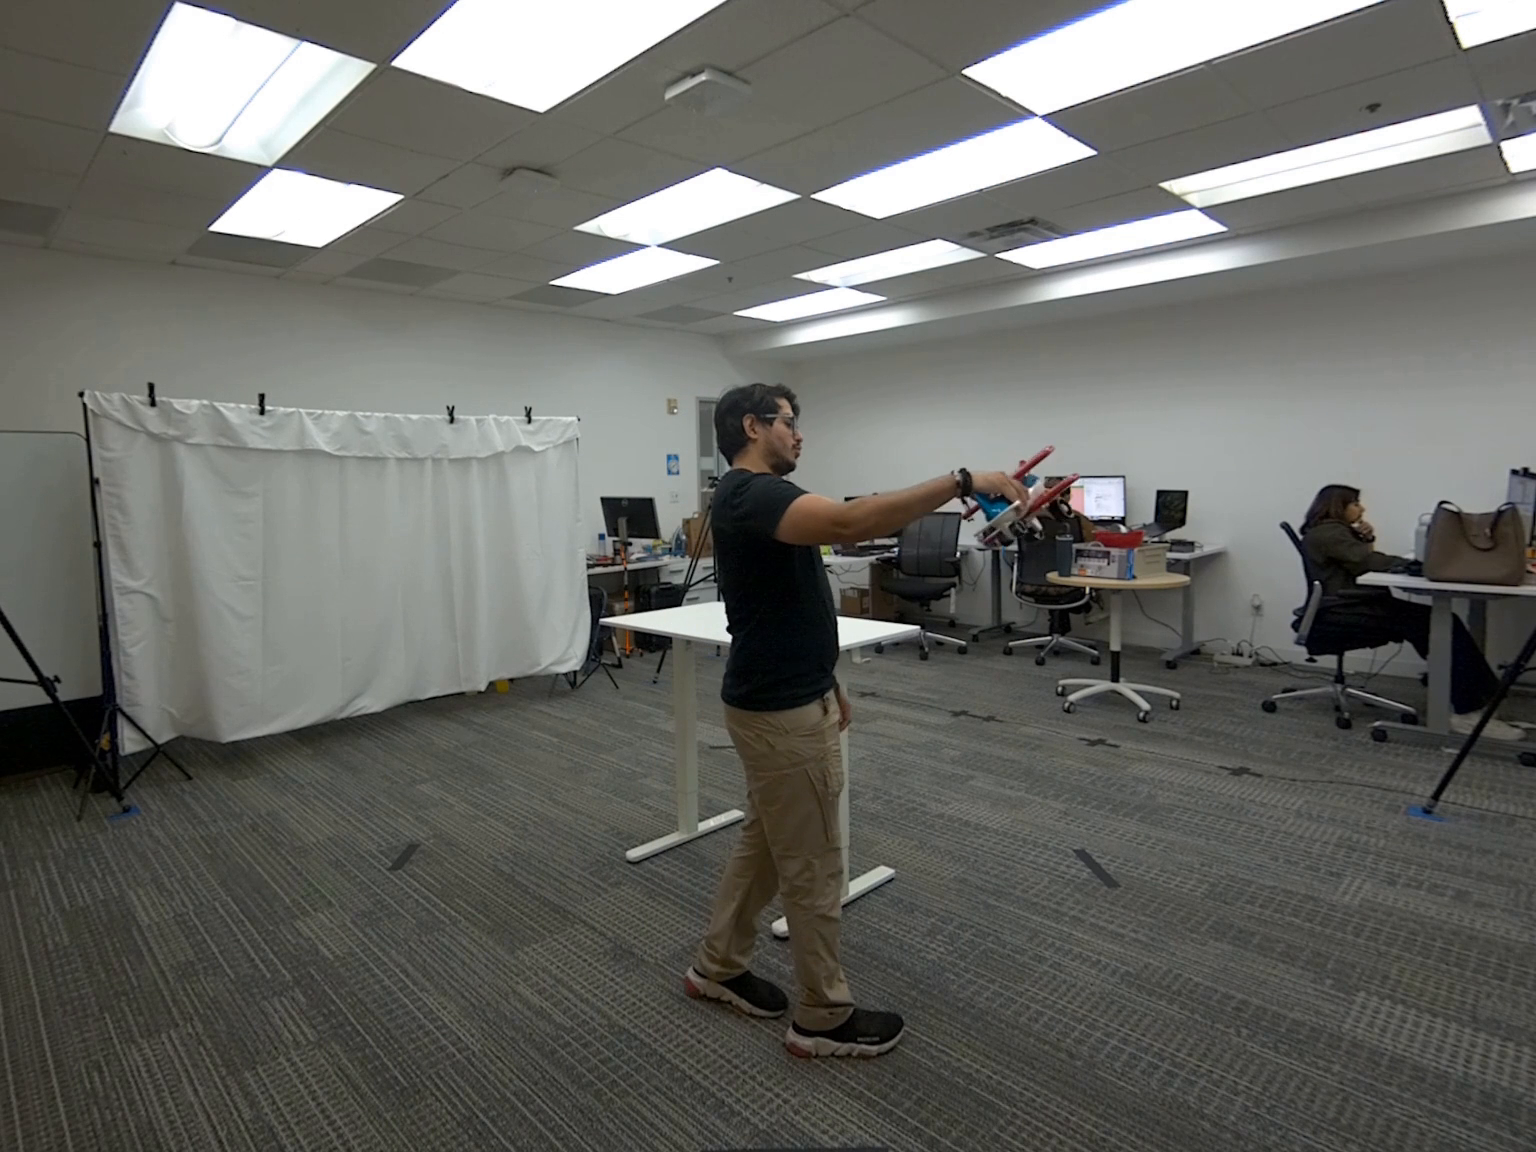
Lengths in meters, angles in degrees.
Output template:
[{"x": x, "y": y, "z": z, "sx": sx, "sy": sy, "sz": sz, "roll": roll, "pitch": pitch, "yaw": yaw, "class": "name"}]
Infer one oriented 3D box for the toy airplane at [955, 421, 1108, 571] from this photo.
[{"x": 0.559, "y": -0.161, "z": 1.828, "sx": 0.252, "sy": 0.160, "sz": 0.252, "roll": -34, "pitch": -18, "yaw": 14, "class": "toy airplane"}]
